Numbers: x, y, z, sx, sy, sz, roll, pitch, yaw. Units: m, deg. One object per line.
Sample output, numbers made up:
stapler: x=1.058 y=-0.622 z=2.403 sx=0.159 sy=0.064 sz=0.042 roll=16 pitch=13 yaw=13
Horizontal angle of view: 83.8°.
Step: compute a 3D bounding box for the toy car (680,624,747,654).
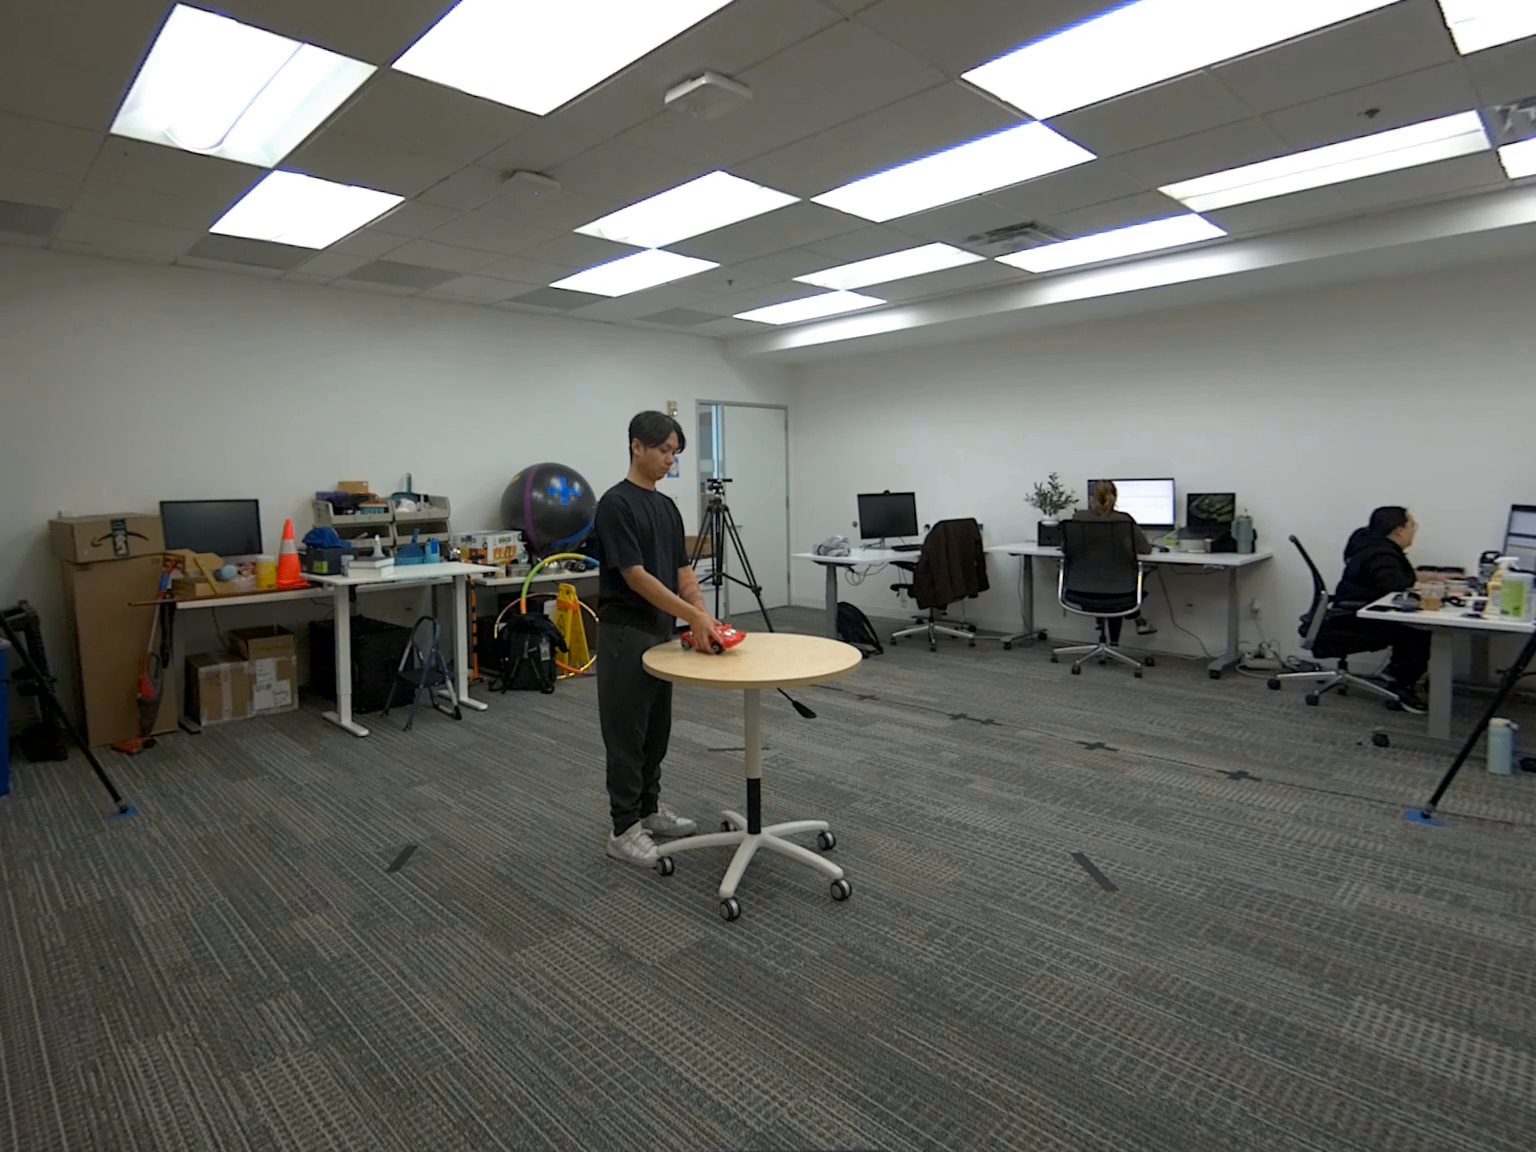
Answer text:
toy car: x=-0.190 y=0.224 z=3.055 sx=0.260 sy=0.083 sz=0.128 roll=-11 pitch=8 yaw=39
